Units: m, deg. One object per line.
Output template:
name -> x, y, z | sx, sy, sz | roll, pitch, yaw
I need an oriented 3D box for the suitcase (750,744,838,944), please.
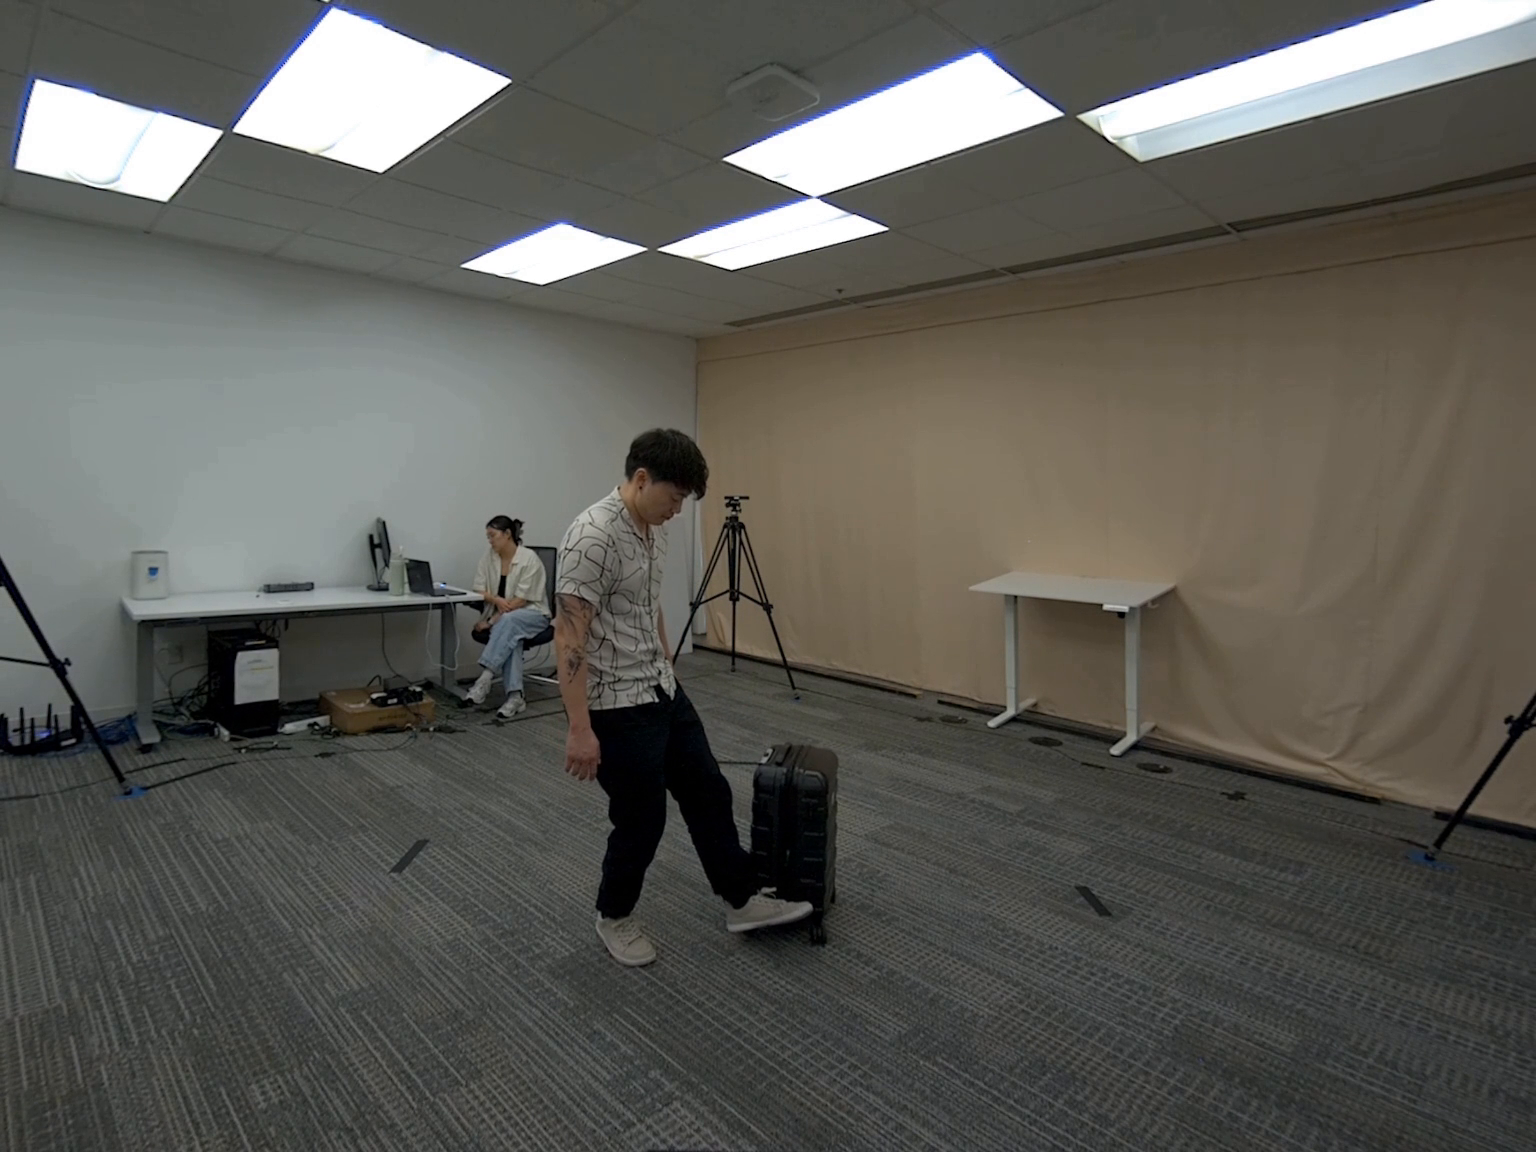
suitcase -> 0.085, 0.856, 2.811 | 0.251, 0.548, 0.372 | 3, 3, 12
